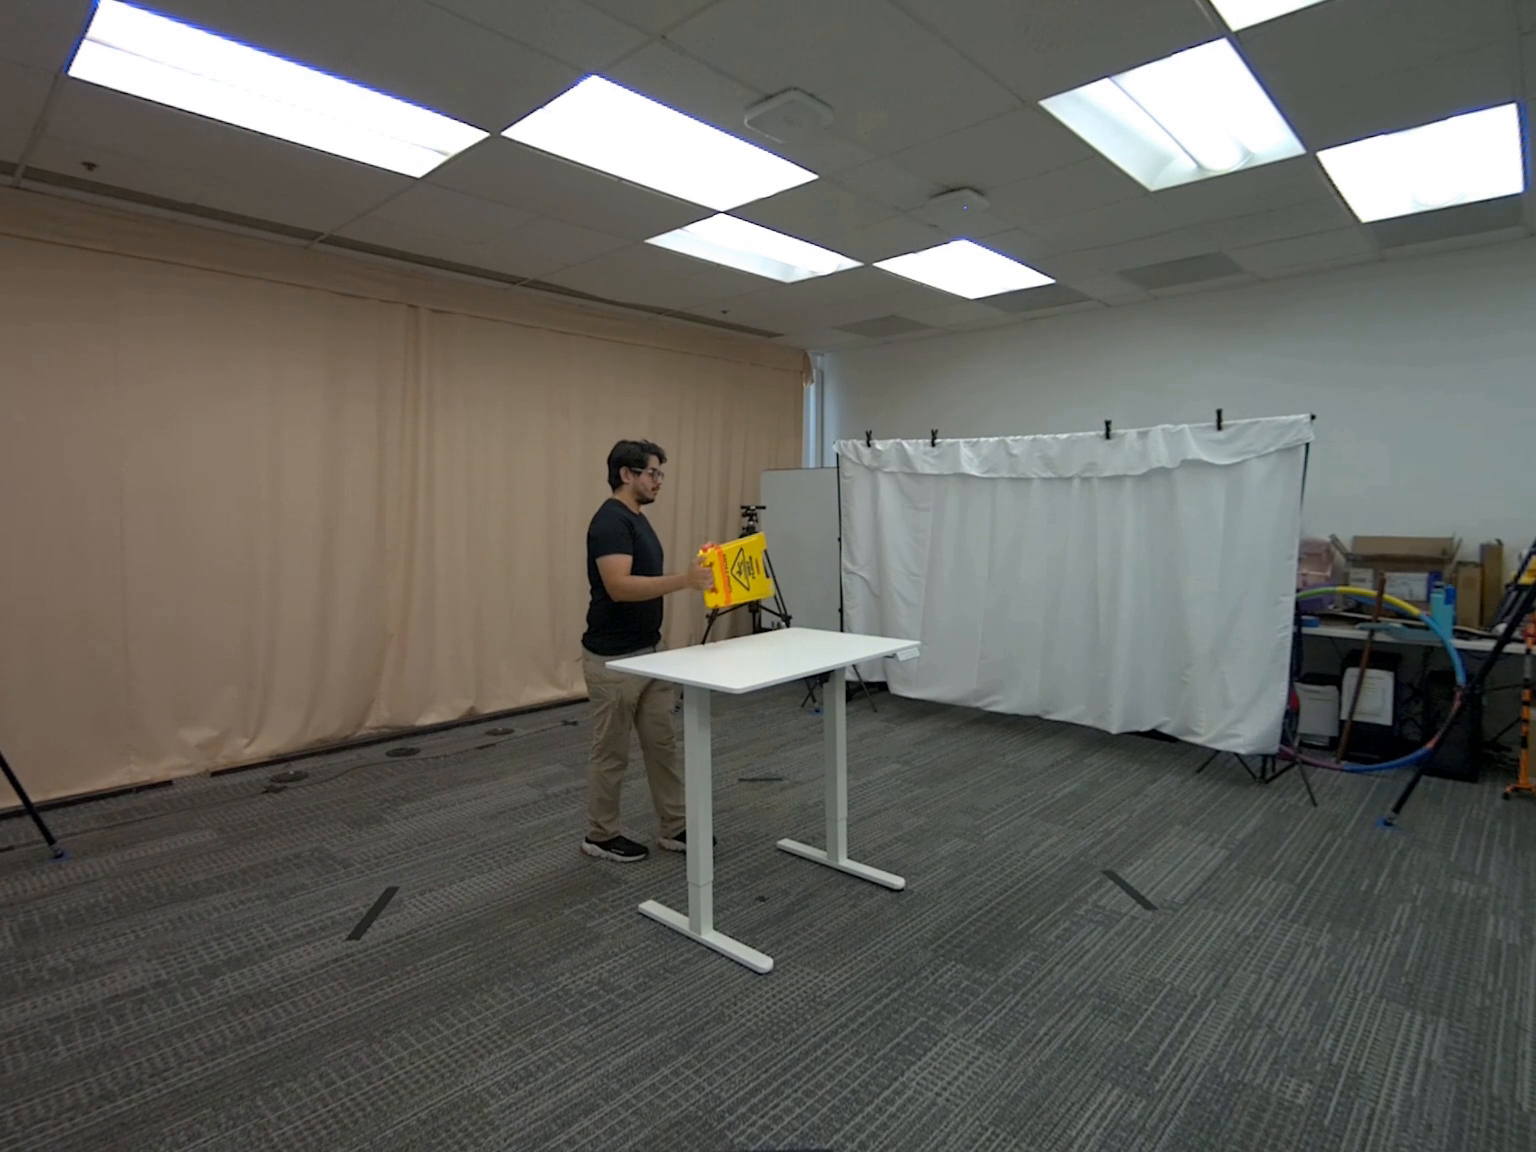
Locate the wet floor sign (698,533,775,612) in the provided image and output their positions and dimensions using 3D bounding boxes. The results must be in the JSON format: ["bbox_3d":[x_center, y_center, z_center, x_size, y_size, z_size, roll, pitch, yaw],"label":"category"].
[{"bbox_3d":[-0.170,-0.004,3.353,0.293,0.282,0.639,-10,2,11],"label":"wet floor sign"}]
